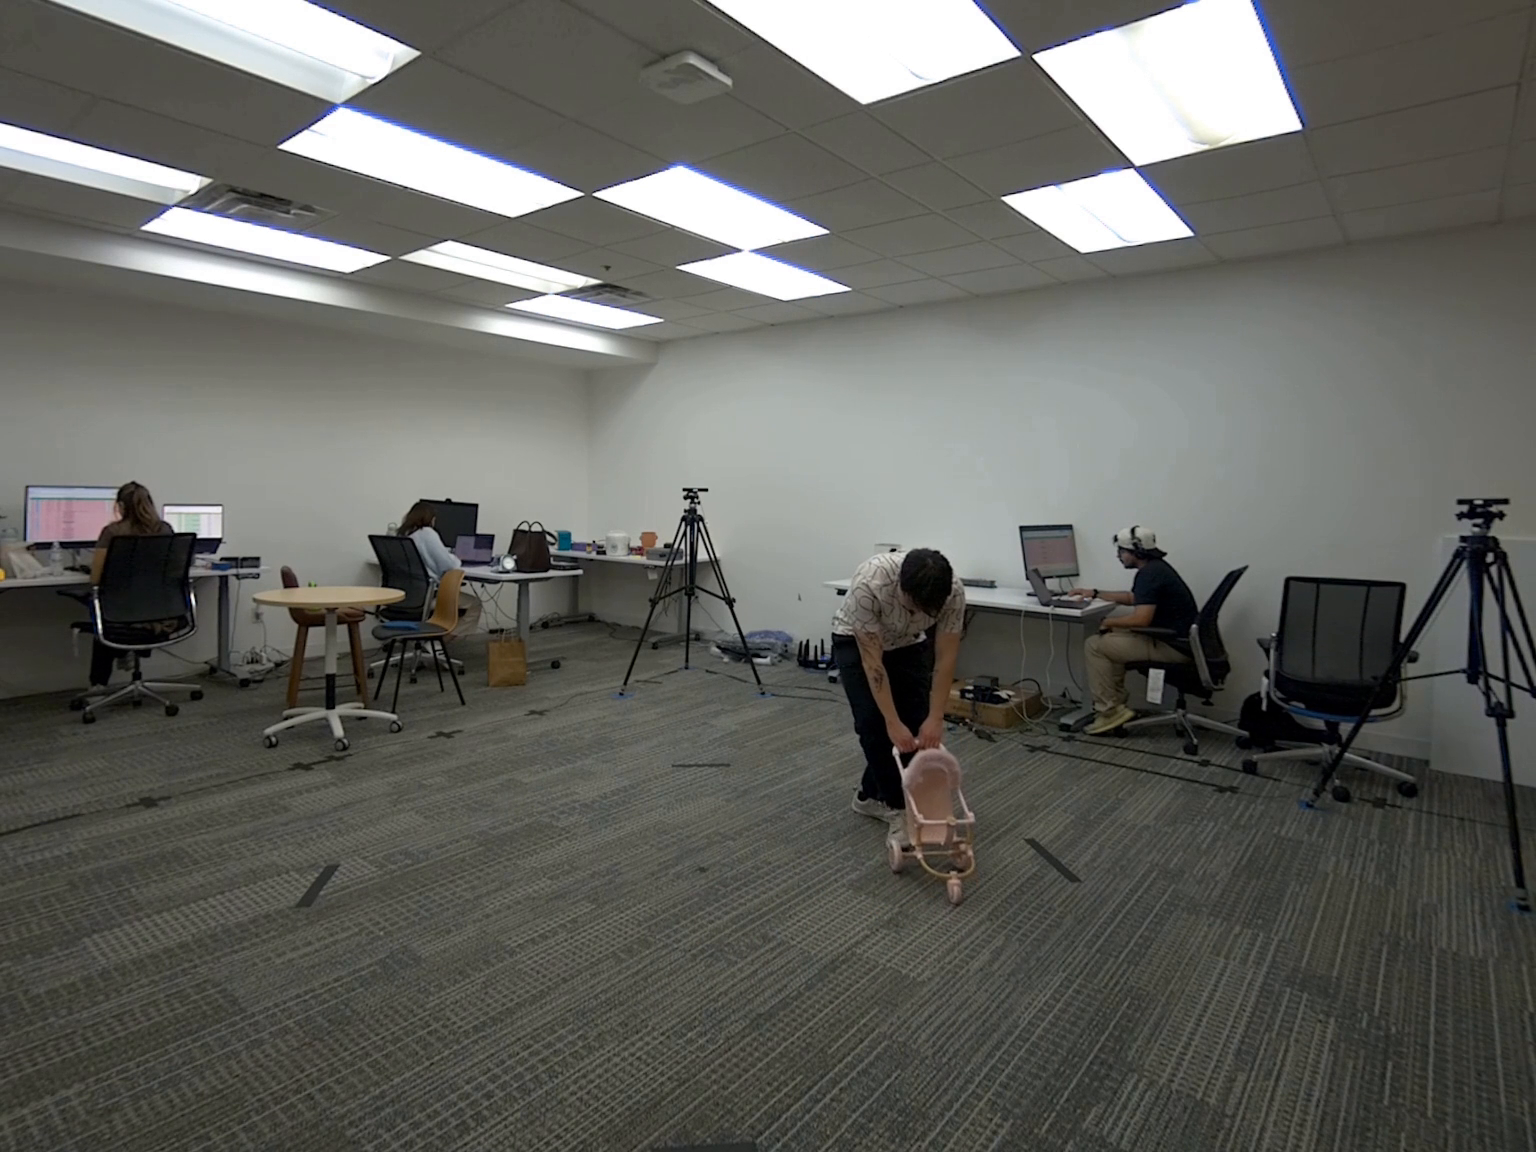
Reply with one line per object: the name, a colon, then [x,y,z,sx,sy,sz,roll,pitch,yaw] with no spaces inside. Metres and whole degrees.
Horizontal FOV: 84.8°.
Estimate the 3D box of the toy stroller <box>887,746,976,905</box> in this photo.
toy stroller: [0.597,0.865,3.081,0.280,0.542,0.338,0,-12,-5]
